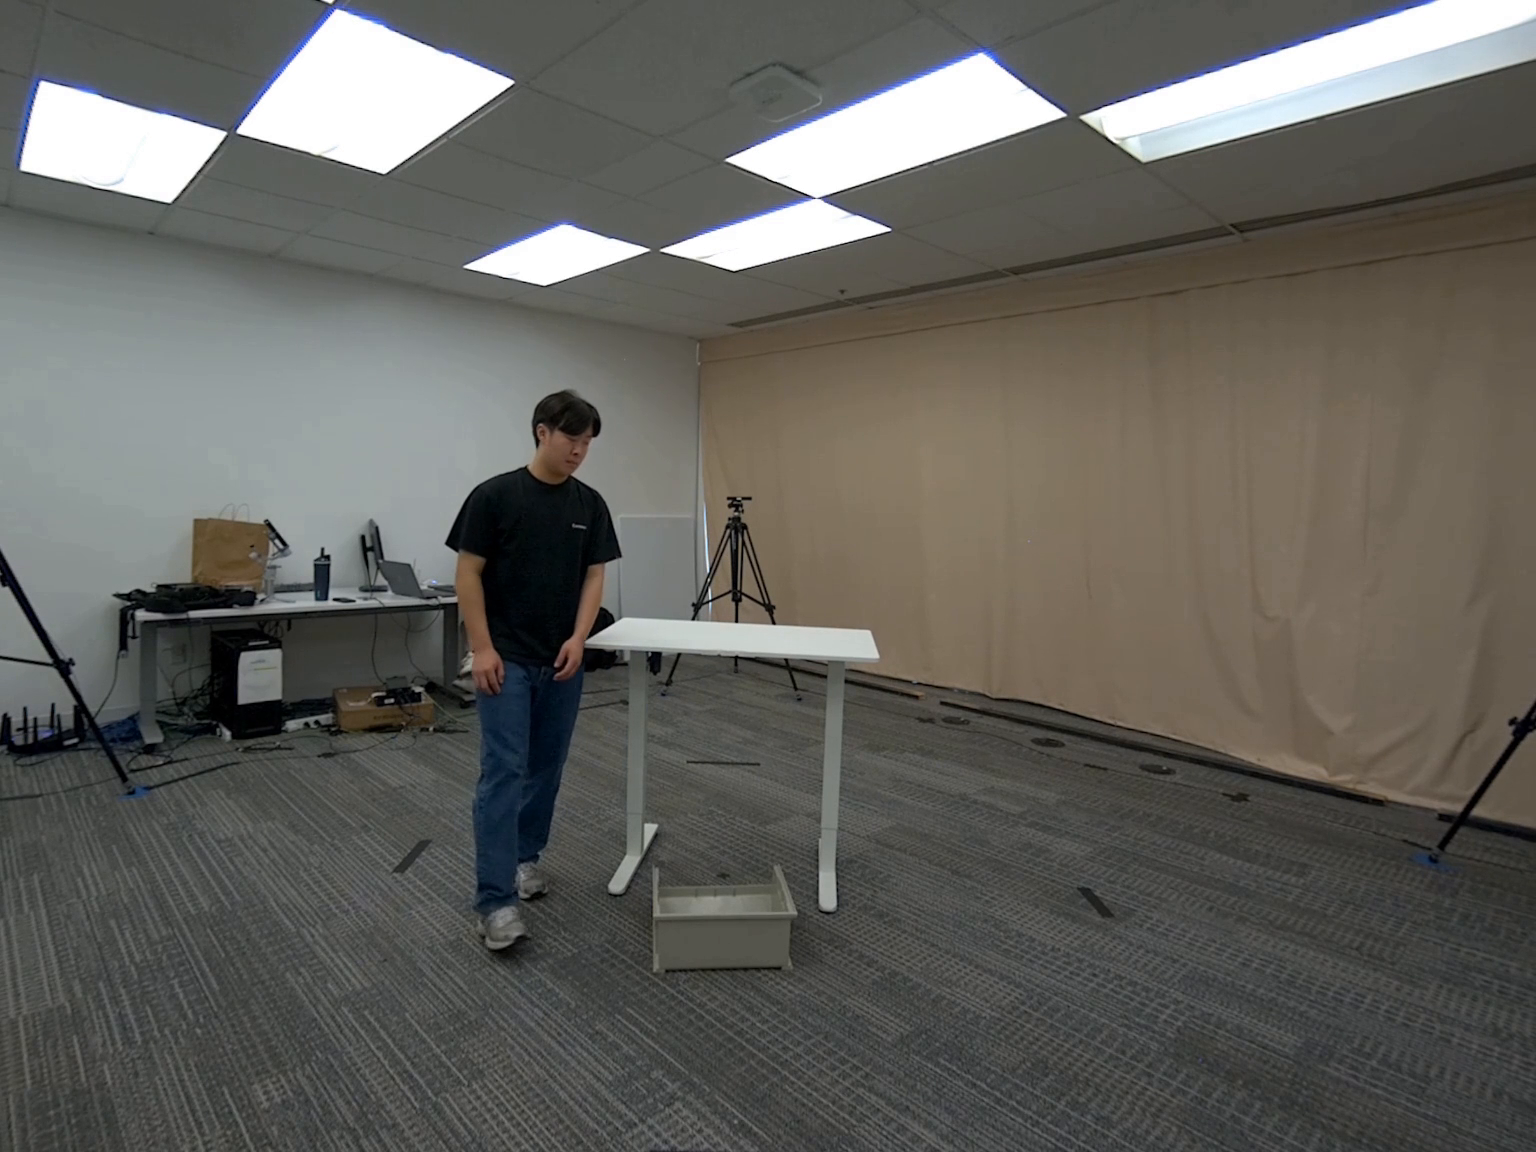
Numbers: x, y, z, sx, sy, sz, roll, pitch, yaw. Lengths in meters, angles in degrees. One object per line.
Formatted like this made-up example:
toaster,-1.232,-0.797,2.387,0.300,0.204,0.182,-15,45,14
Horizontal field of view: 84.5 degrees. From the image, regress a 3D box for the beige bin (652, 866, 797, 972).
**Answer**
beige bin,-0.154,1.065,2.639,0.420,0.188,0.381,2,6,-7
